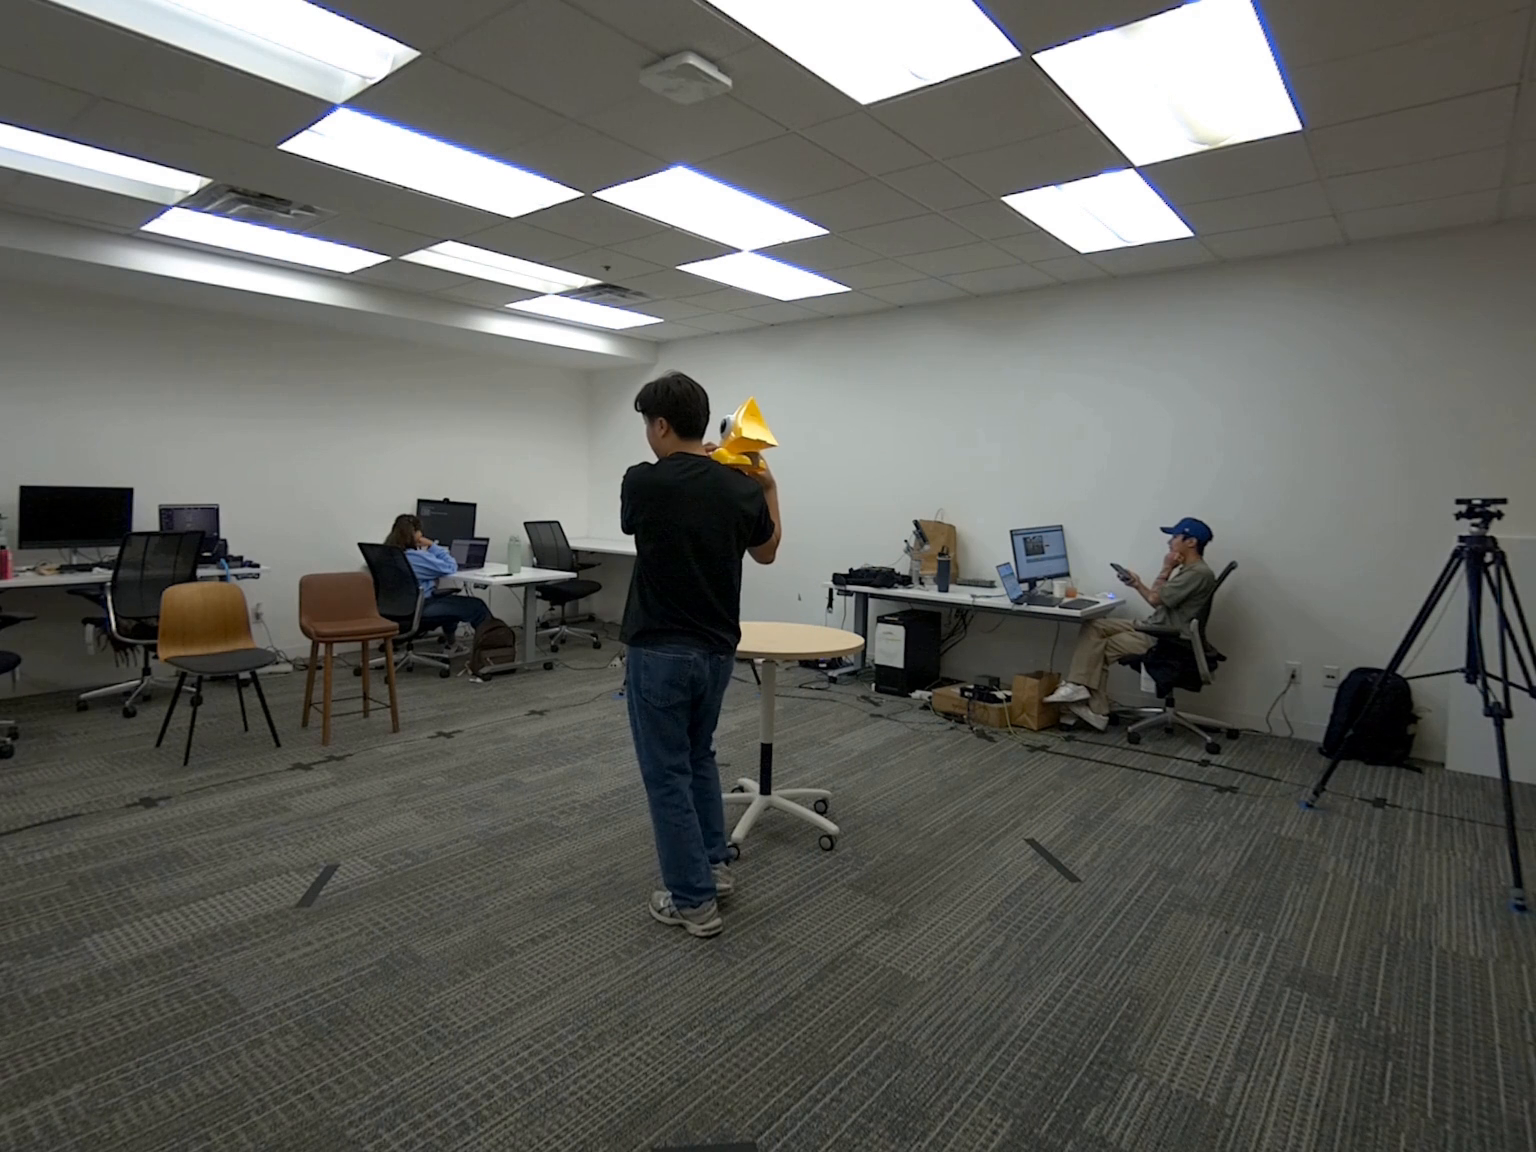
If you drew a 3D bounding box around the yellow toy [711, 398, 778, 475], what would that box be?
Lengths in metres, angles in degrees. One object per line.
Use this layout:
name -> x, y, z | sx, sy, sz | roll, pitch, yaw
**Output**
yellow toy -> -0.105, -0.467, 2.792 | 0.198, 0.232, 0.198 | -5, -5, 34
